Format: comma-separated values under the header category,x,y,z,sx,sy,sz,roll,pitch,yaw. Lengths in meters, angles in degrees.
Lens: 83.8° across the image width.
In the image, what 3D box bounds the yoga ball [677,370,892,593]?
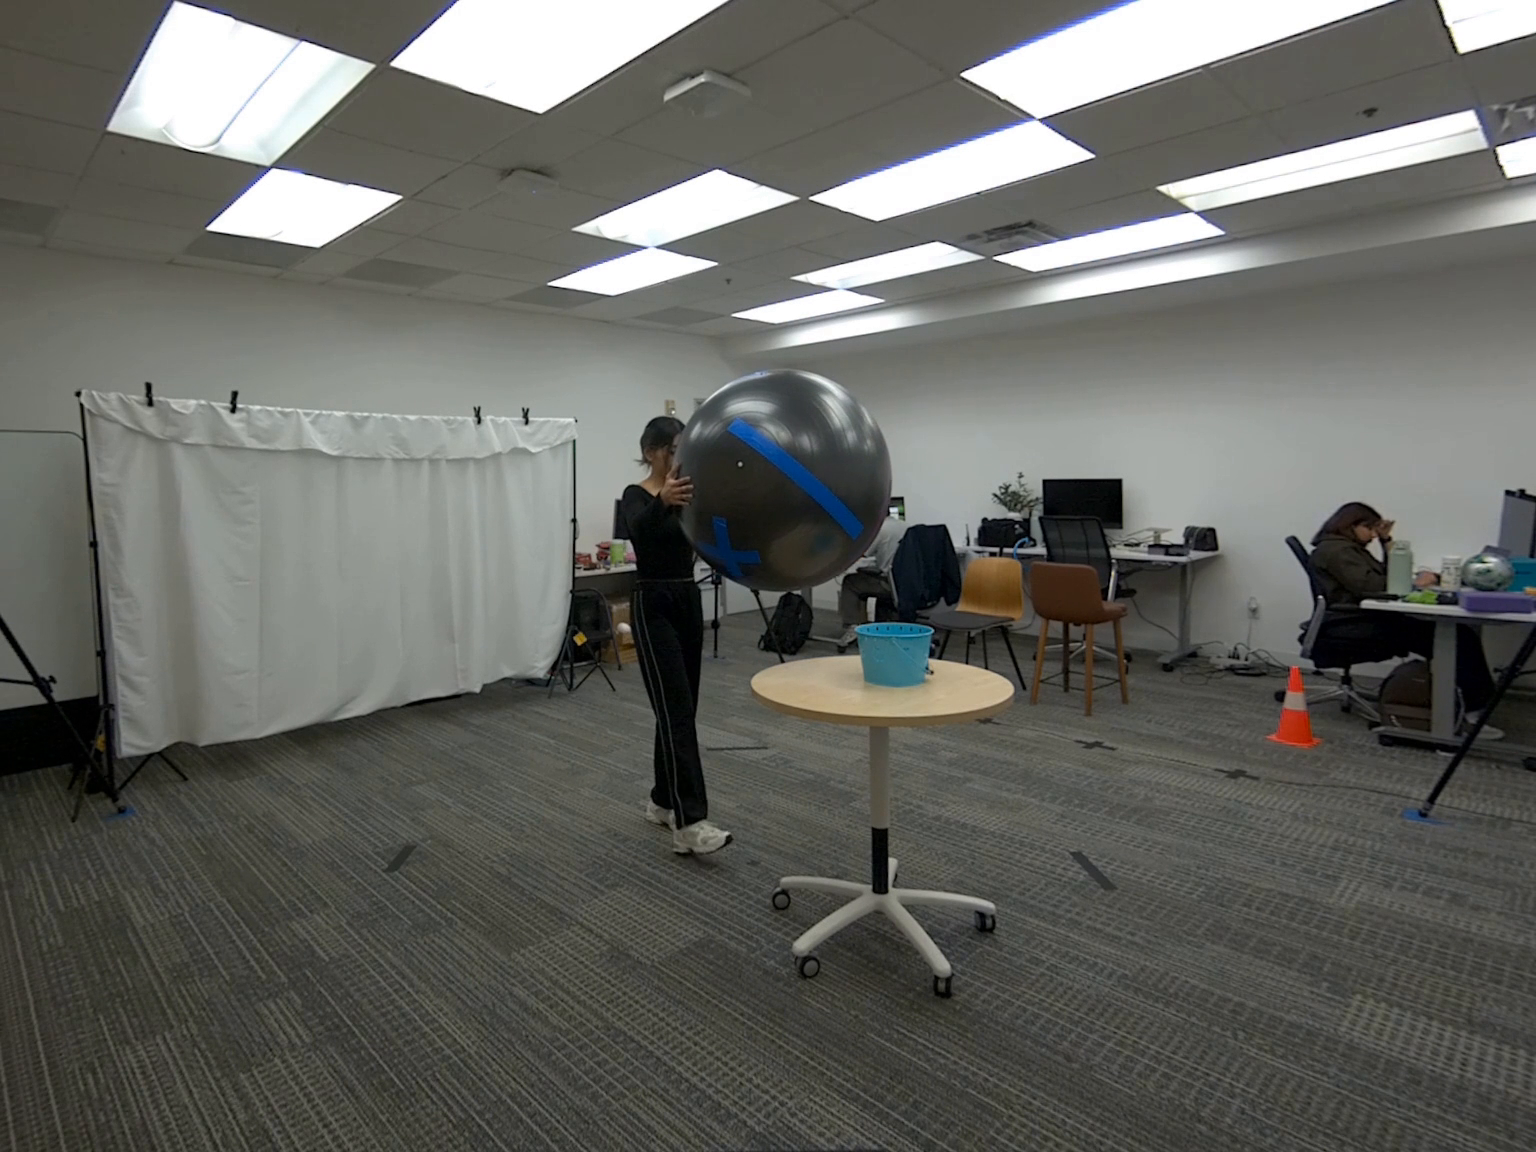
category,x,y,z,sx,sy,sz,roll,pitch,yaw
yoga ball,0.047,-0.316,2.935,0.757,0.755,0.762,-1,5,-2
